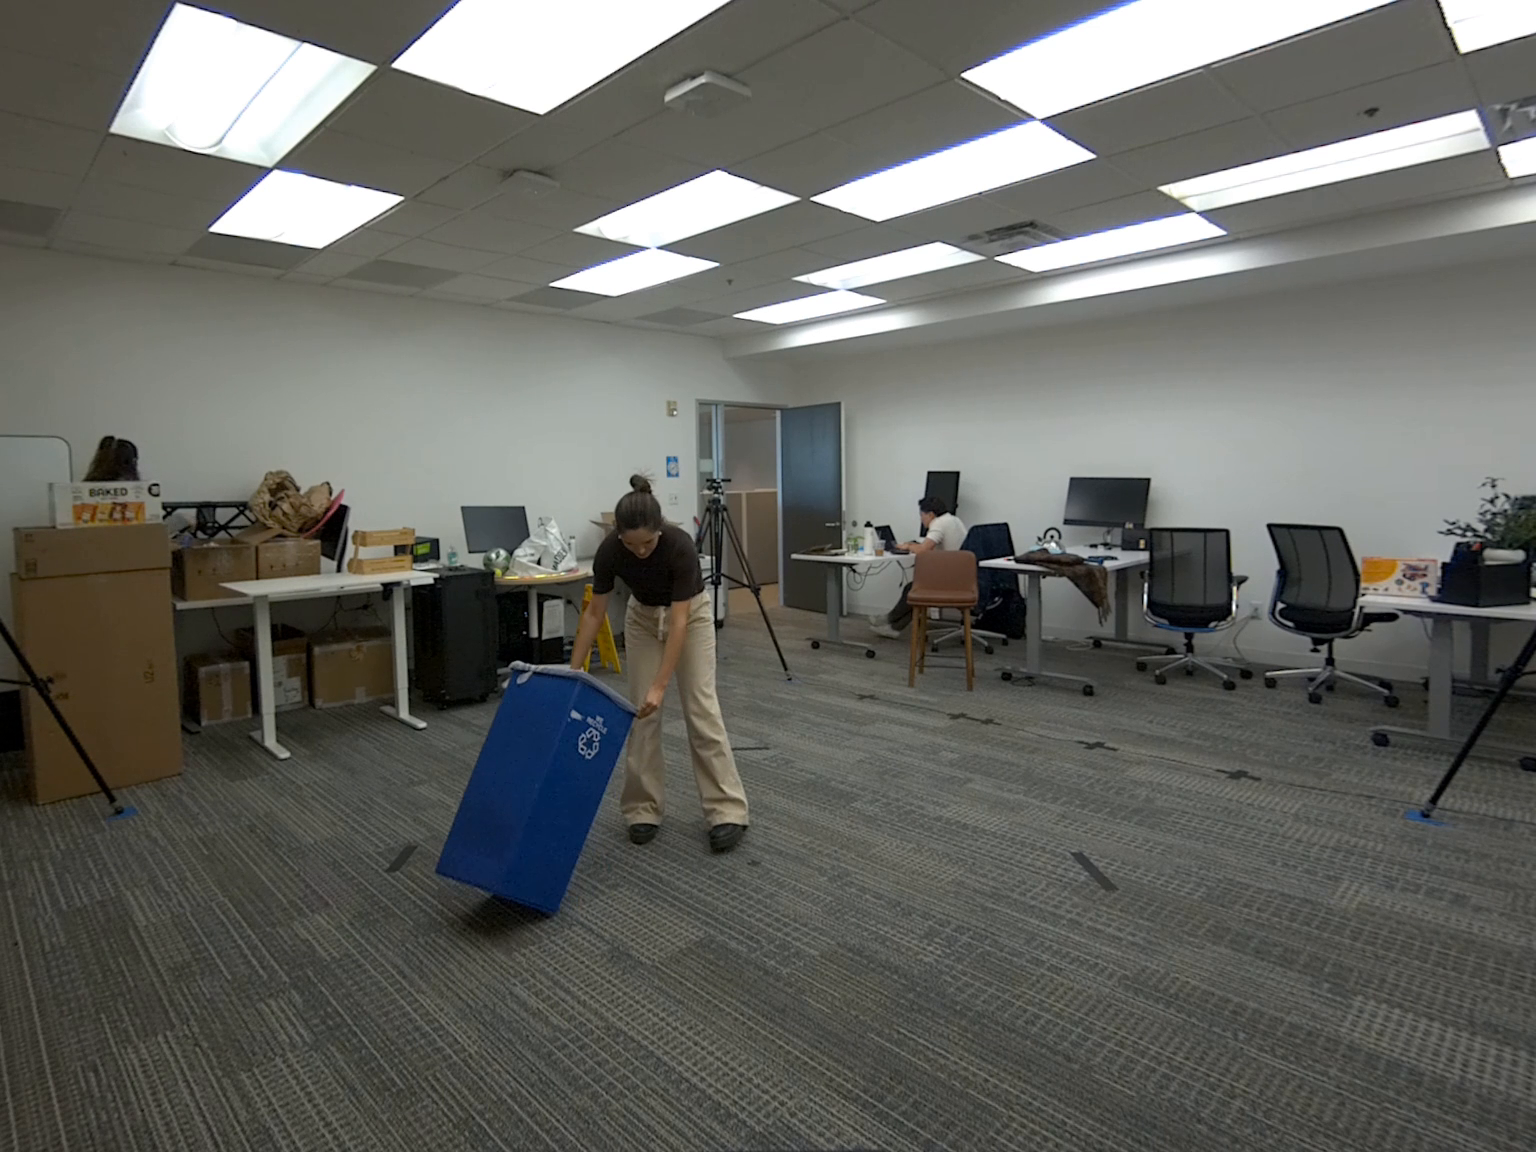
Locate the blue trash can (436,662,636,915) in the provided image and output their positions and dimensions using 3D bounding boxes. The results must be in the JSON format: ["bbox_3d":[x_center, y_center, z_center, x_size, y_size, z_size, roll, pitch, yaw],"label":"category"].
[{"bbox_3d":[-0.762,0.709,2.886,0.388,0.722,0.359,1,-29,32],"label":"blue trash can"}]
